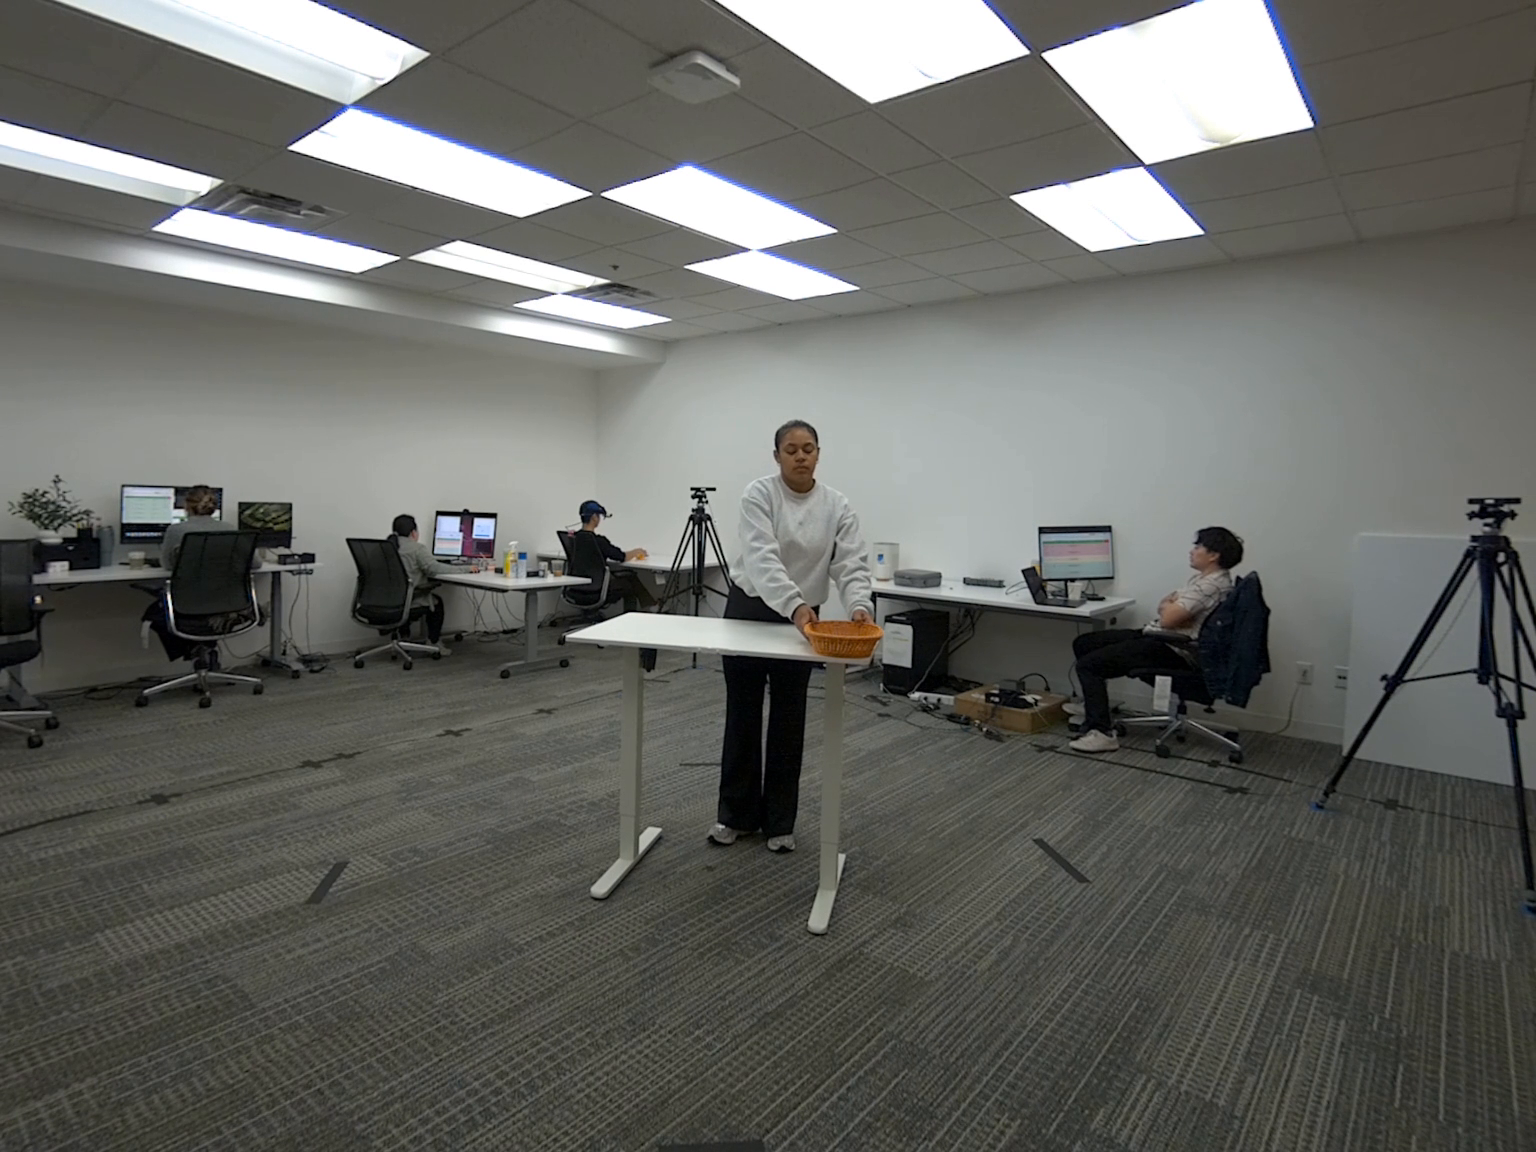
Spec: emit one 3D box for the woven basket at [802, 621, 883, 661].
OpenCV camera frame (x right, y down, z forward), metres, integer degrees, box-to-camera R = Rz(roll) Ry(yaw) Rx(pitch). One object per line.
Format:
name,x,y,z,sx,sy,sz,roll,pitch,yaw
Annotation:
woven basket,0.232,0.201,2.729,0.252,0.073,0.352,1,6,-1
